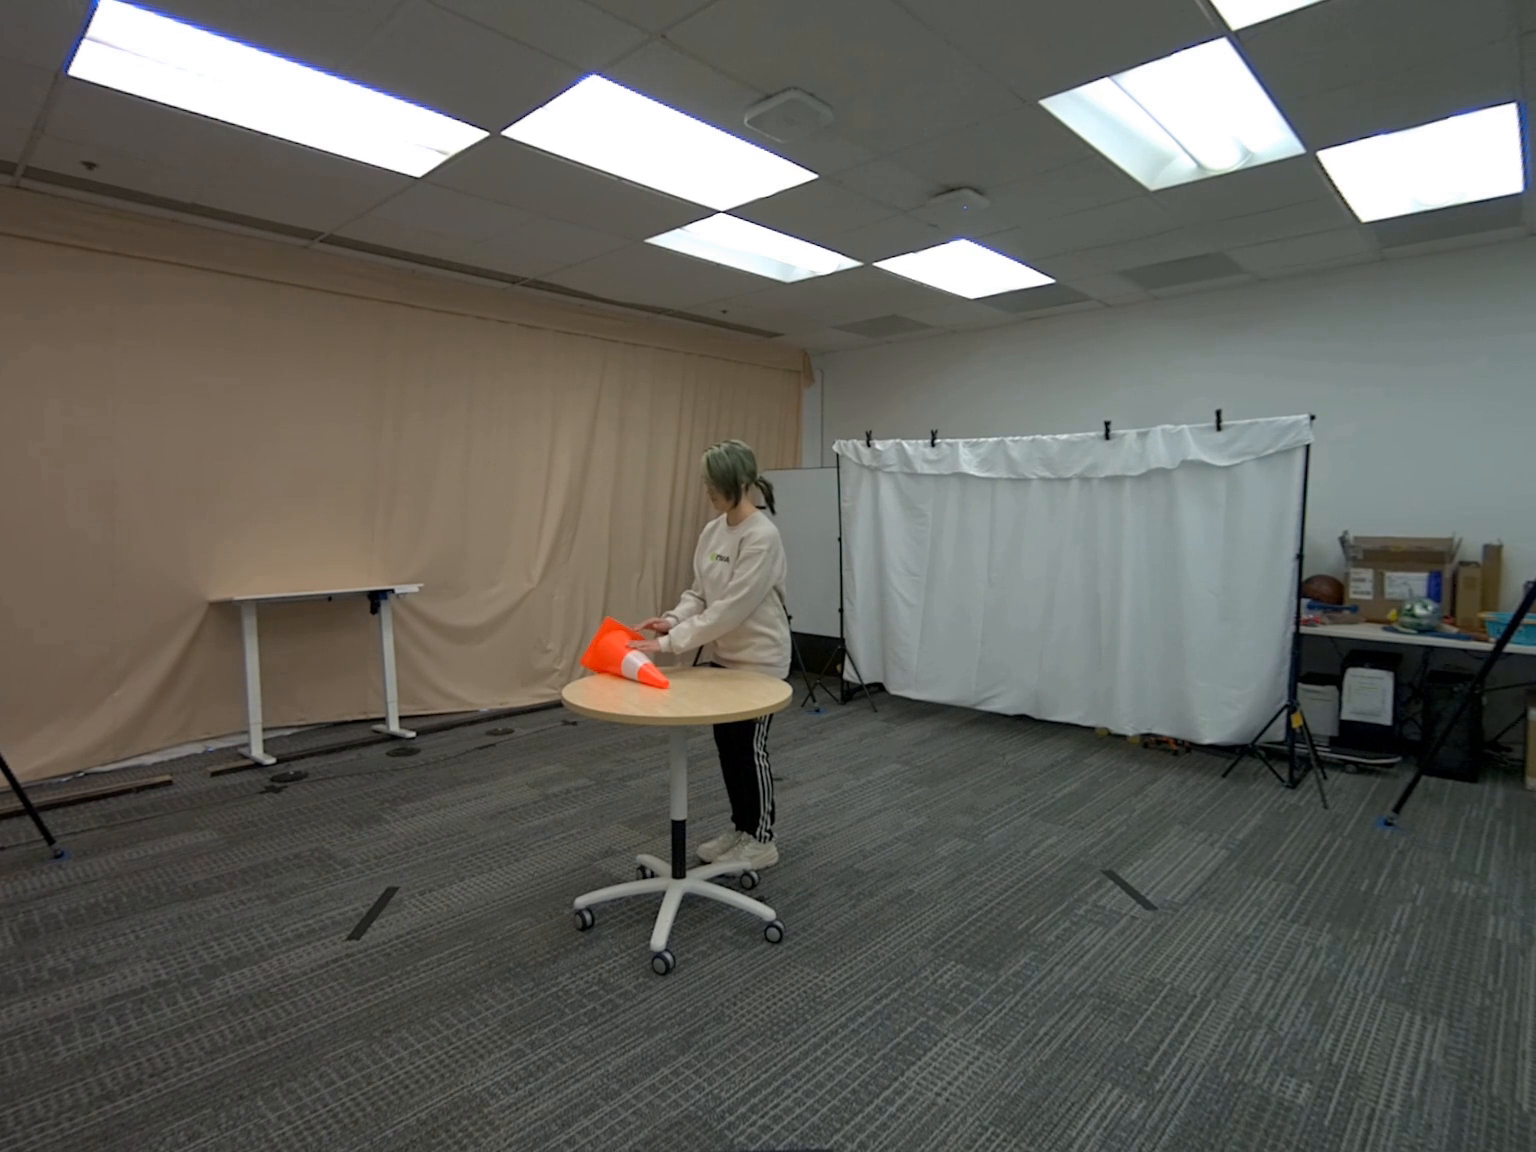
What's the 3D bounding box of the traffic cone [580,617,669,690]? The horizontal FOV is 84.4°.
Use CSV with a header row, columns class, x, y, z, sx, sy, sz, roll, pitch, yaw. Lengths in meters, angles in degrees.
class,x,y,z,sx,sy,sz,roll,pitch,yaw
traffic cone,-0.452,0.316,2.955,0.196,0.205,0.398,35,-8,-40
